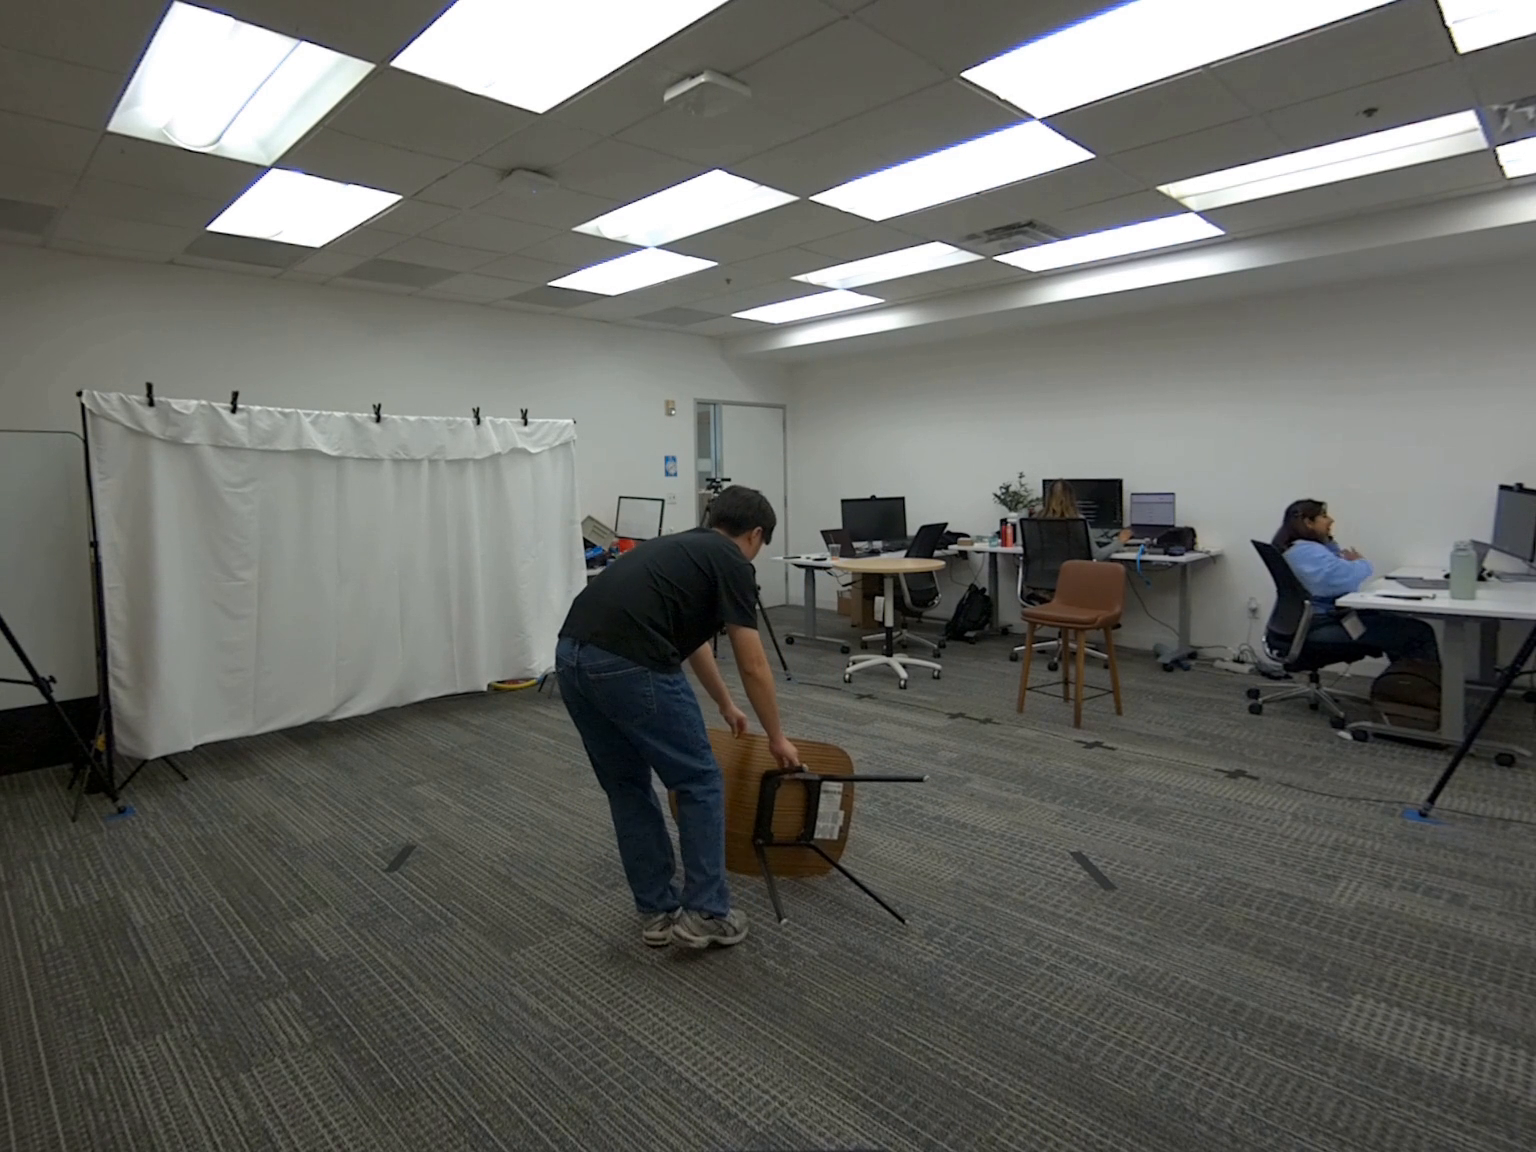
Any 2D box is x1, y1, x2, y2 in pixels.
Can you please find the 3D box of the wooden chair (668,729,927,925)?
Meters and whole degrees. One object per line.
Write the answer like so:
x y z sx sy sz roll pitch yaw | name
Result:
0.084 0.805 2.922 0.508 0.480 0.899 11 -5 -30 | wooden chair
